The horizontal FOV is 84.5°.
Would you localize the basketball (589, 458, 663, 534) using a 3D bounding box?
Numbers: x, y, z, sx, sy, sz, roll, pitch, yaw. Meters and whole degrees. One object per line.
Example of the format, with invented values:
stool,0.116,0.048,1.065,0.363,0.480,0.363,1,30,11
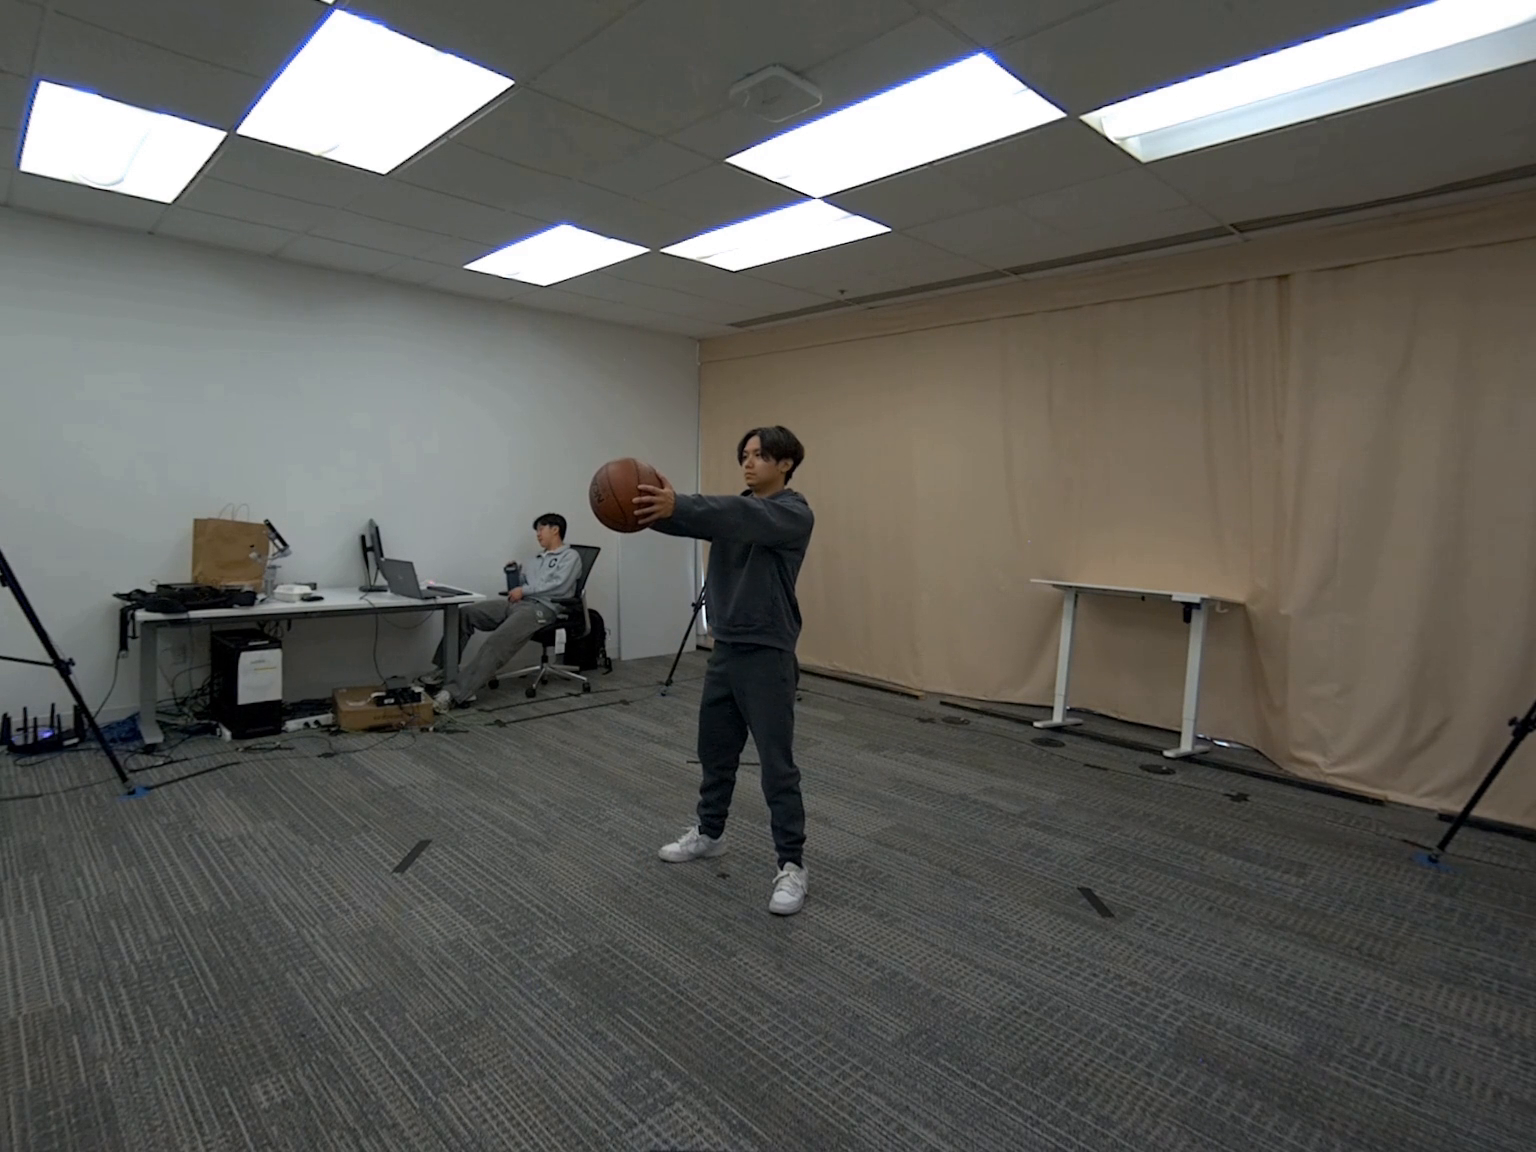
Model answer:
basketball,-0.448,-0.253,2.648,0.236,0.235,0.237,1,4,-1
